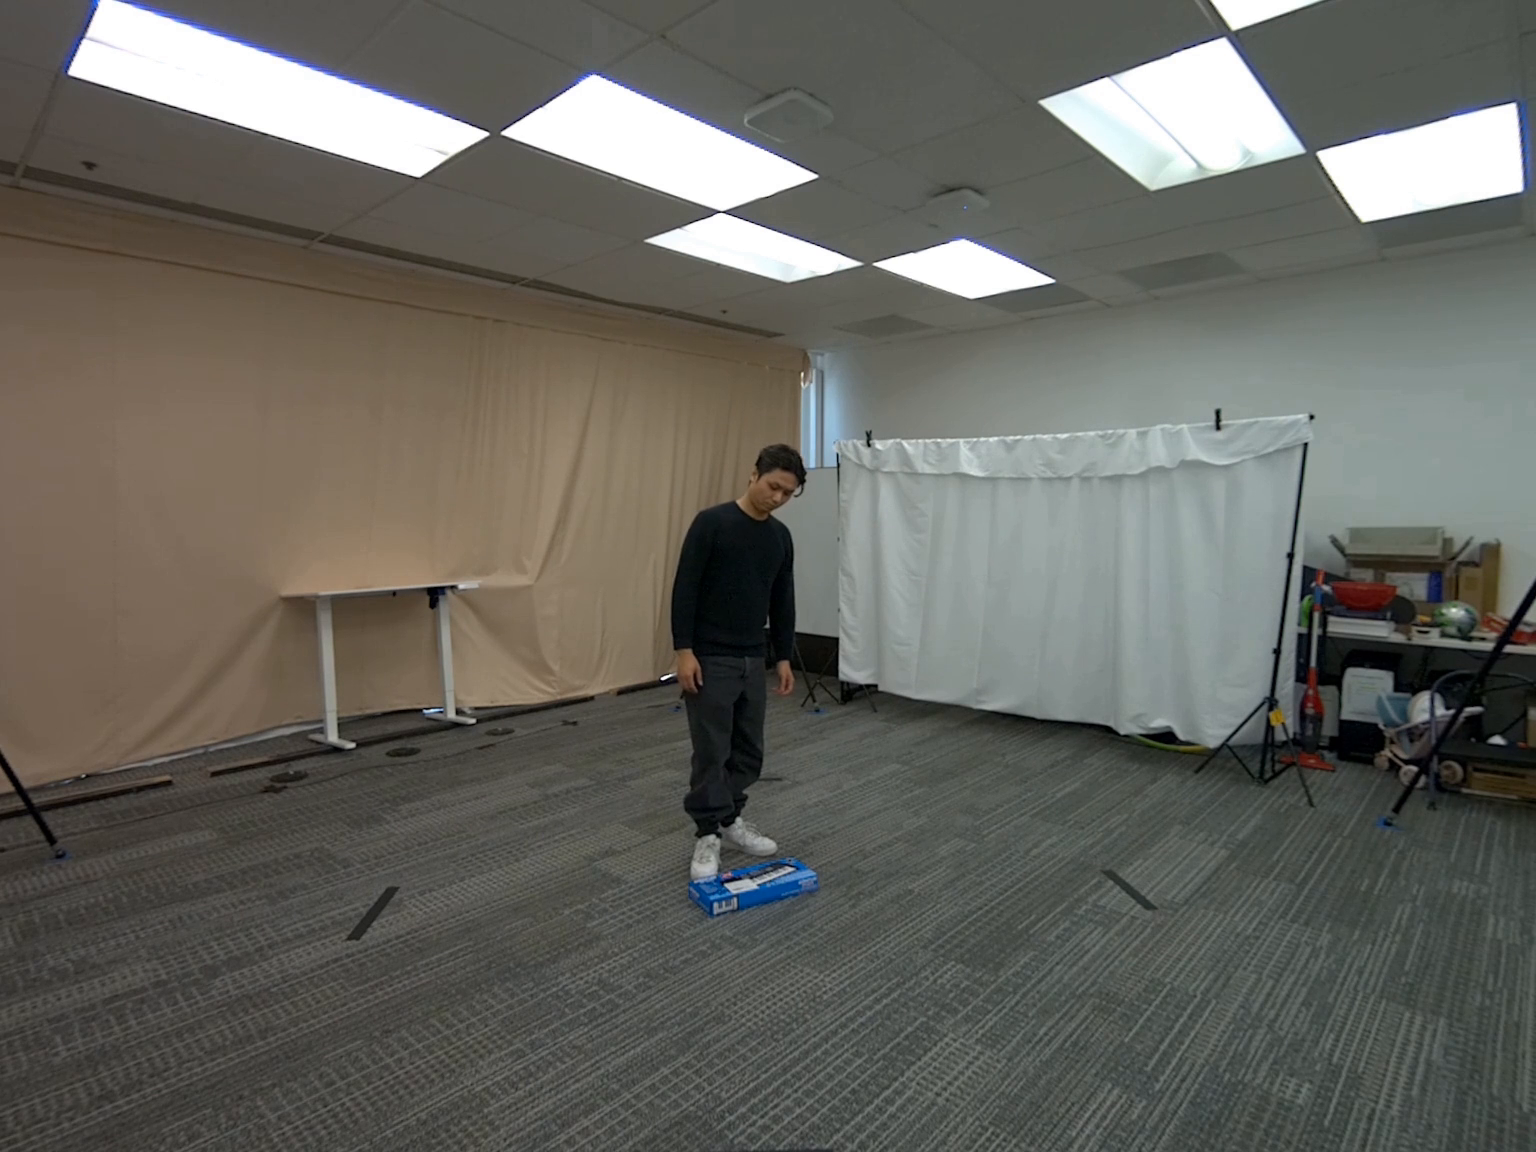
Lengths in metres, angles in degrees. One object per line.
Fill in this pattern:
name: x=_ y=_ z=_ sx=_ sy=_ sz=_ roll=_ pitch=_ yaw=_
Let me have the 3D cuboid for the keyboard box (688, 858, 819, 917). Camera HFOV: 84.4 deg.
keyboard box: x=-0.044 y=1.112 z=3.017 sx=0.426 sy=0.059 sz=0.181 roll=-3 pitch=5 yaw=-28
